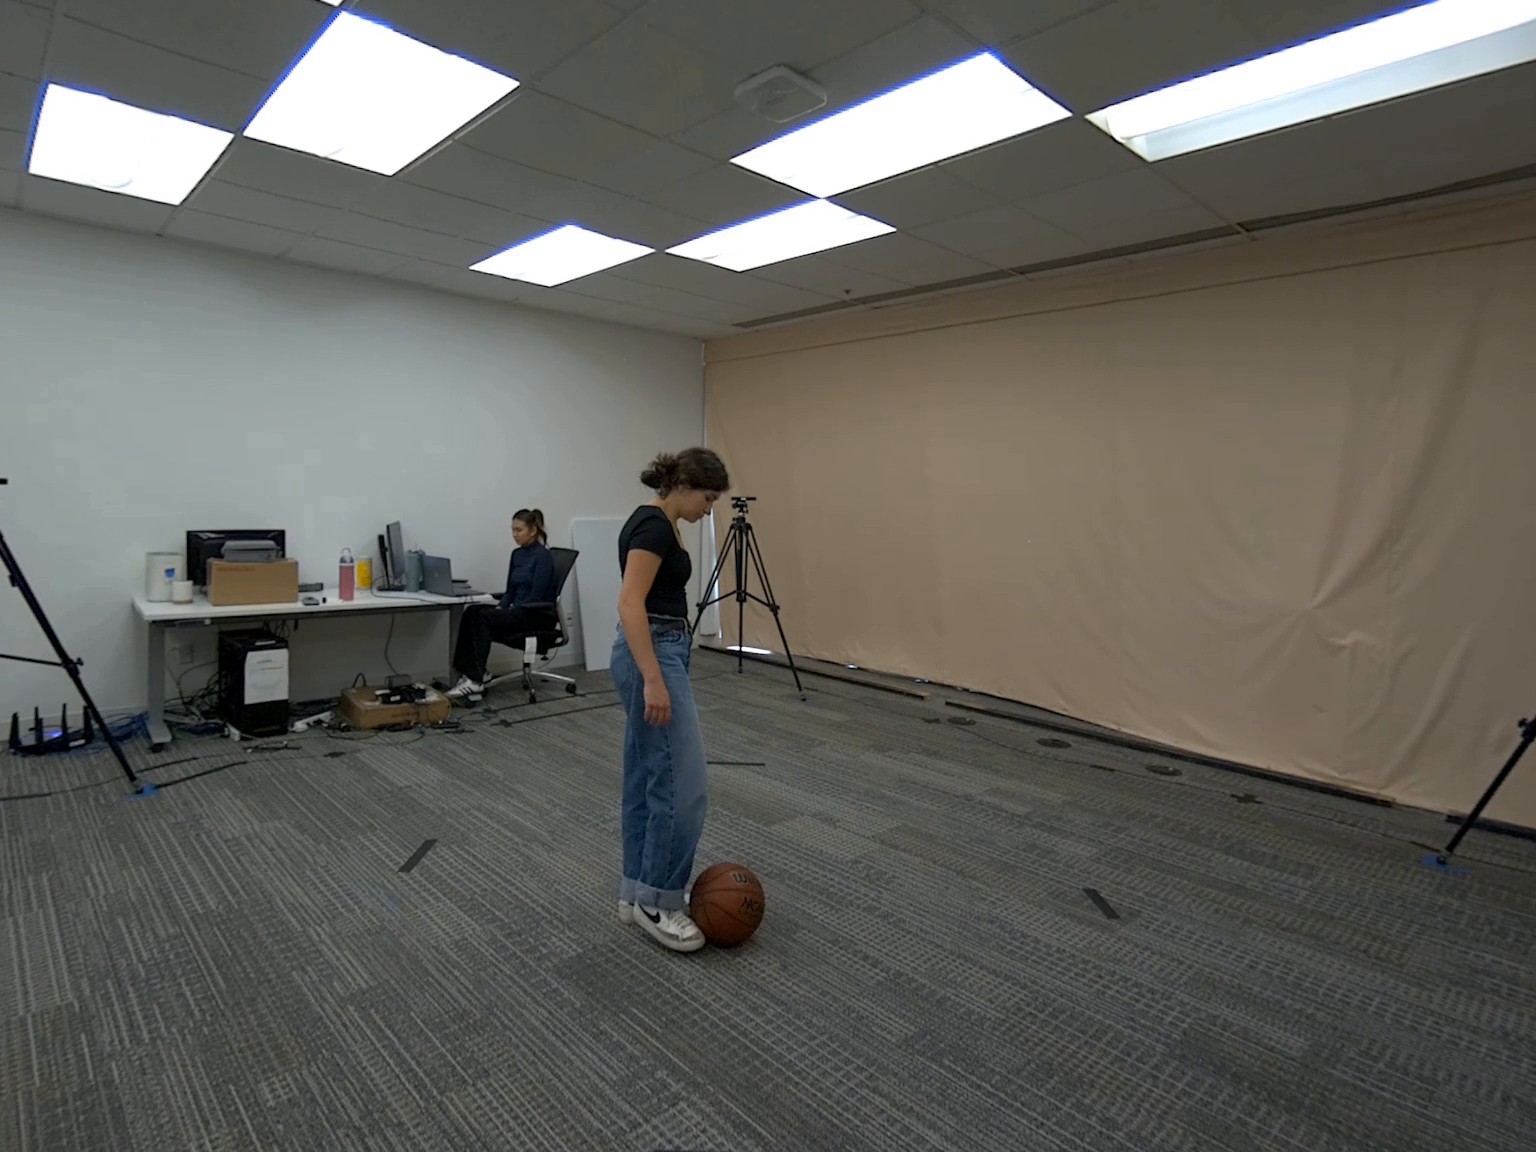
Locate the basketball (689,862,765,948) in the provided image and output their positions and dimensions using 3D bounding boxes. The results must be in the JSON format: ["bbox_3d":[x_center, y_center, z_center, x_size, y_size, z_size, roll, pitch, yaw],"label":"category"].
[{"bbox_3d":[-0.131,1.030,2.646,0.236,0.235,0.237,1,4,-1],"label":"basketball"}]
